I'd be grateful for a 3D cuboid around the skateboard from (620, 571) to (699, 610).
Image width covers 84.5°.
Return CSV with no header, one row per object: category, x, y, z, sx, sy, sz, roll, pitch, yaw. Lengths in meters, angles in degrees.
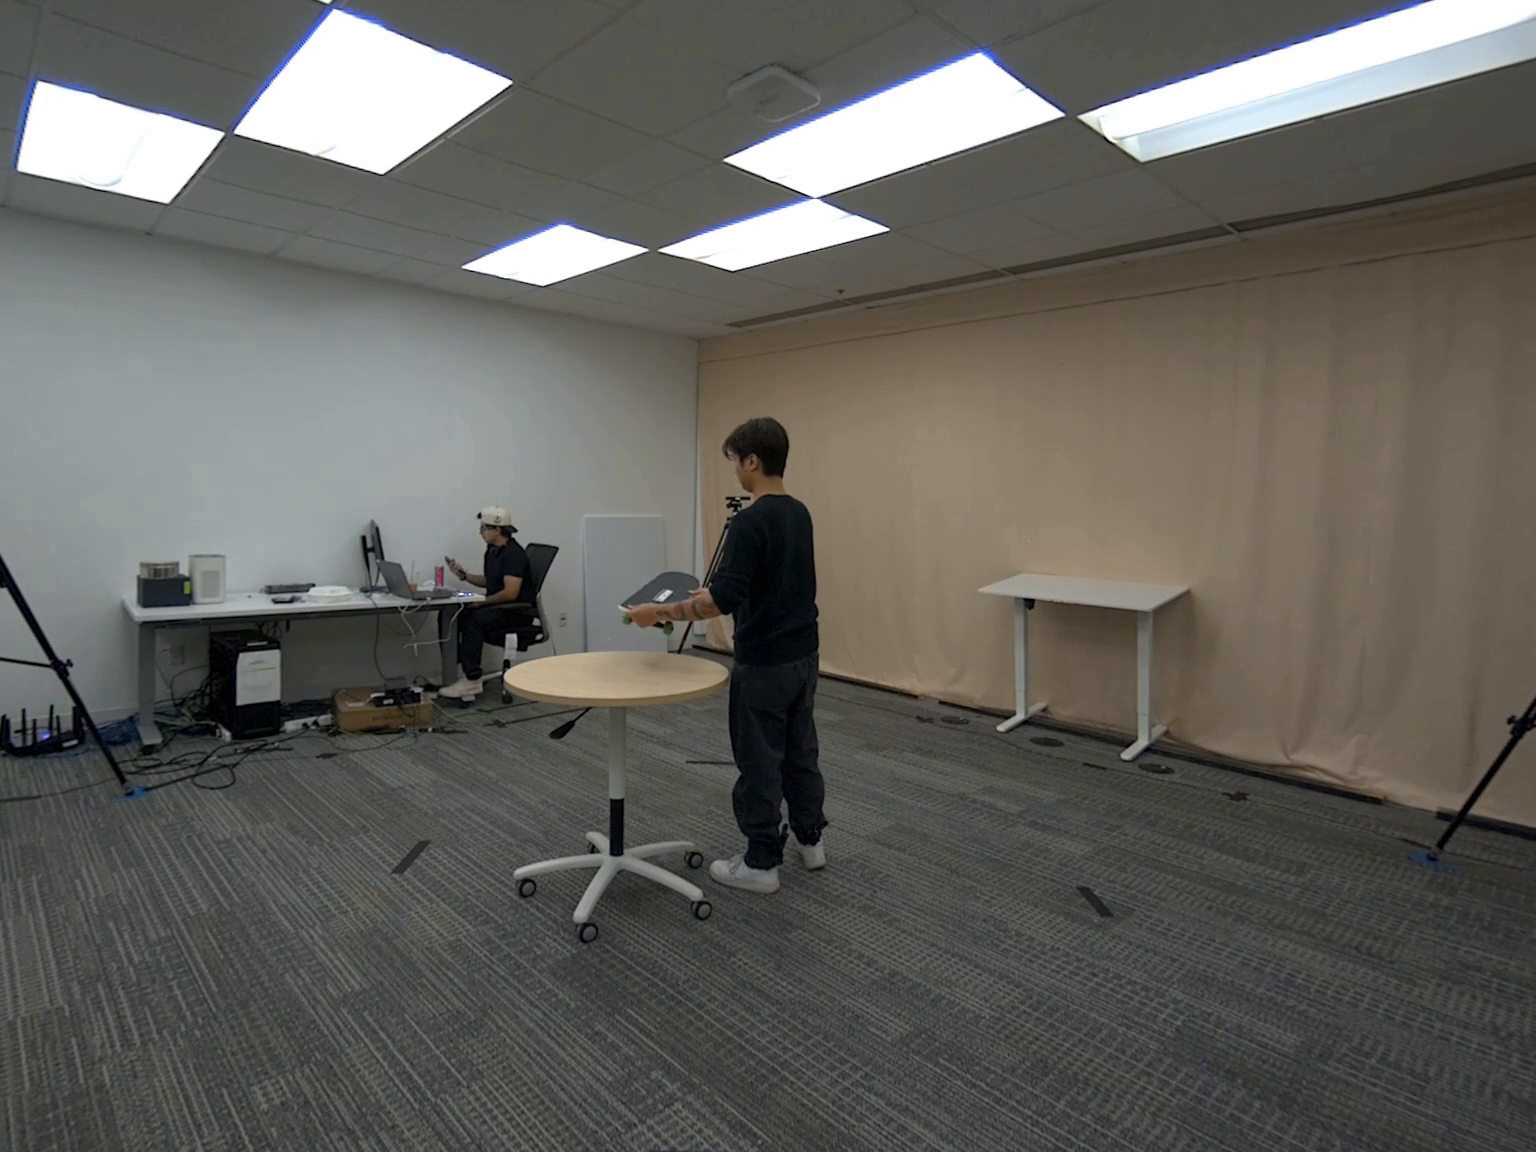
skateboard,-0.398,0.113,3.222,0.194,0.110,0.788,10,10,1
